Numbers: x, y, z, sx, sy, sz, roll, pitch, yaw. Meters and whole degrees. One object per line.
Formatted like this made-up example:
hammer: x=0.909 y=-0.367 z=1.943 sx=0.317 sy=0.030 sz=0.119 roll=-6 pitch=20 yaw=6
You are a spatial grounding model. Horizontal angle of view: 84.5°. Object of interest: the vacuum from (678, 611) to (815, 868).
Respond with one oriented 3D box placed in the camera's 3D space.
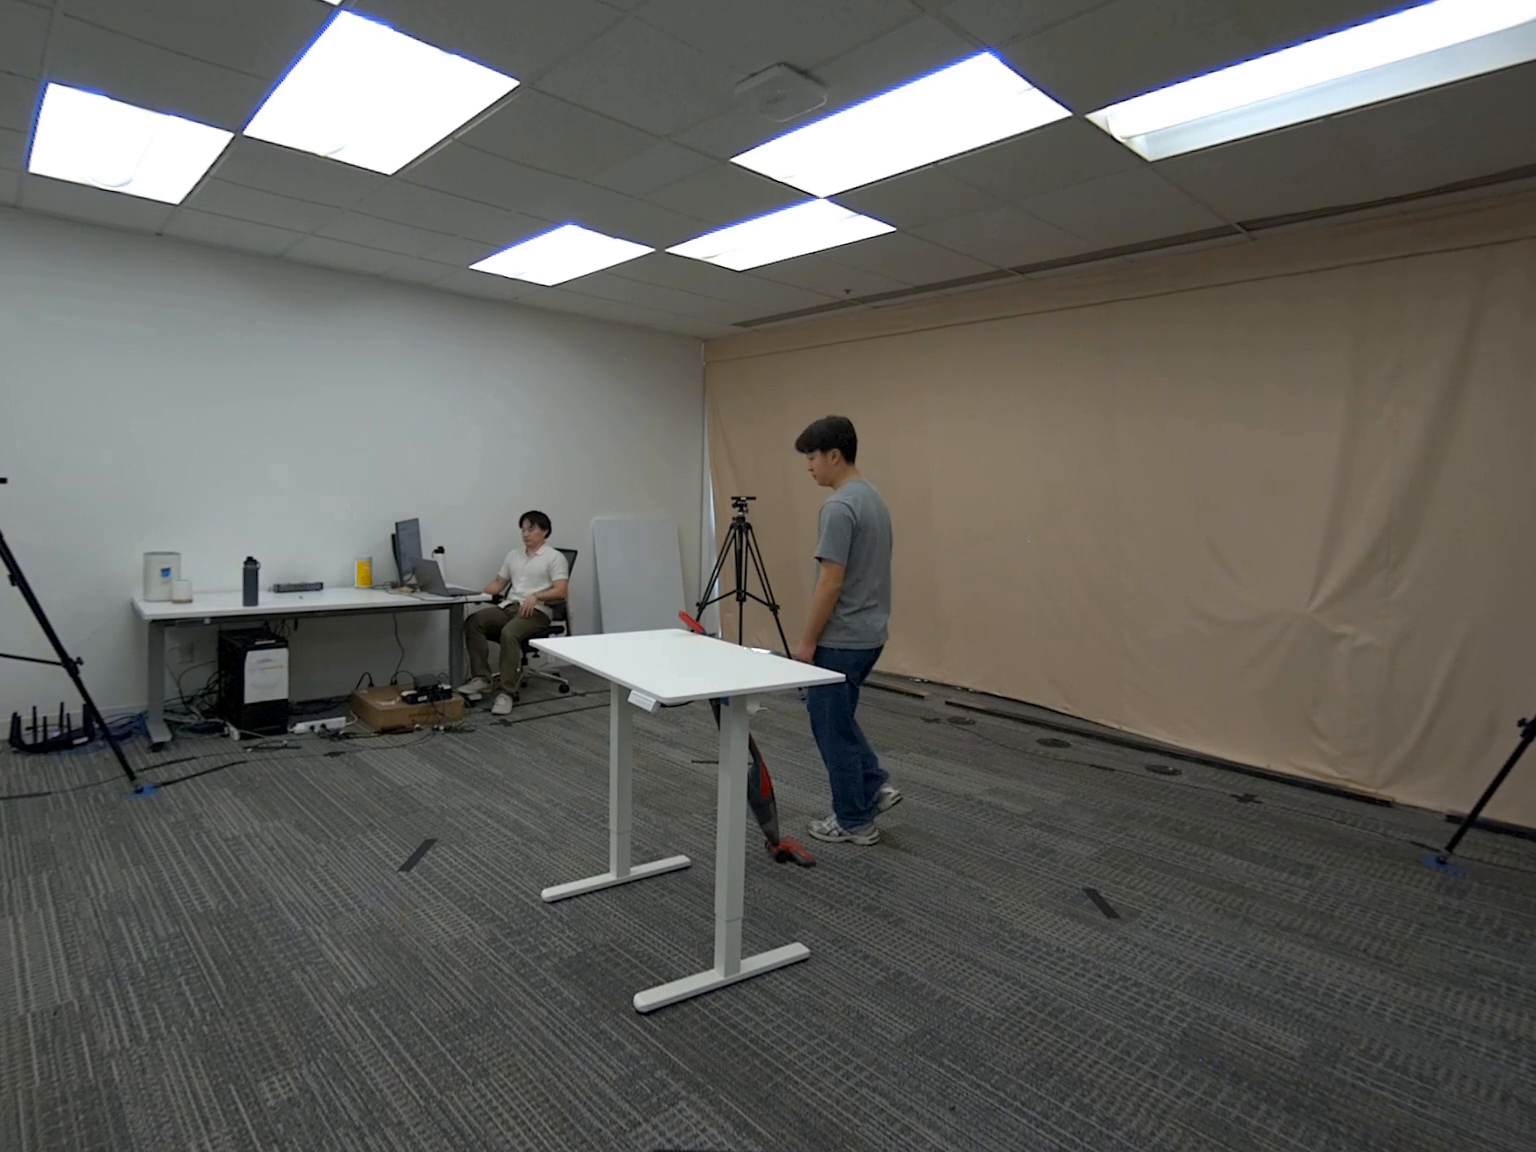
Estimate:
vacuum: x=-0.128 y=0.622 z=3.220 sx=0.143 sy=1.040 sz=0.257 roll=-27 pitch=9 yaw=-23
